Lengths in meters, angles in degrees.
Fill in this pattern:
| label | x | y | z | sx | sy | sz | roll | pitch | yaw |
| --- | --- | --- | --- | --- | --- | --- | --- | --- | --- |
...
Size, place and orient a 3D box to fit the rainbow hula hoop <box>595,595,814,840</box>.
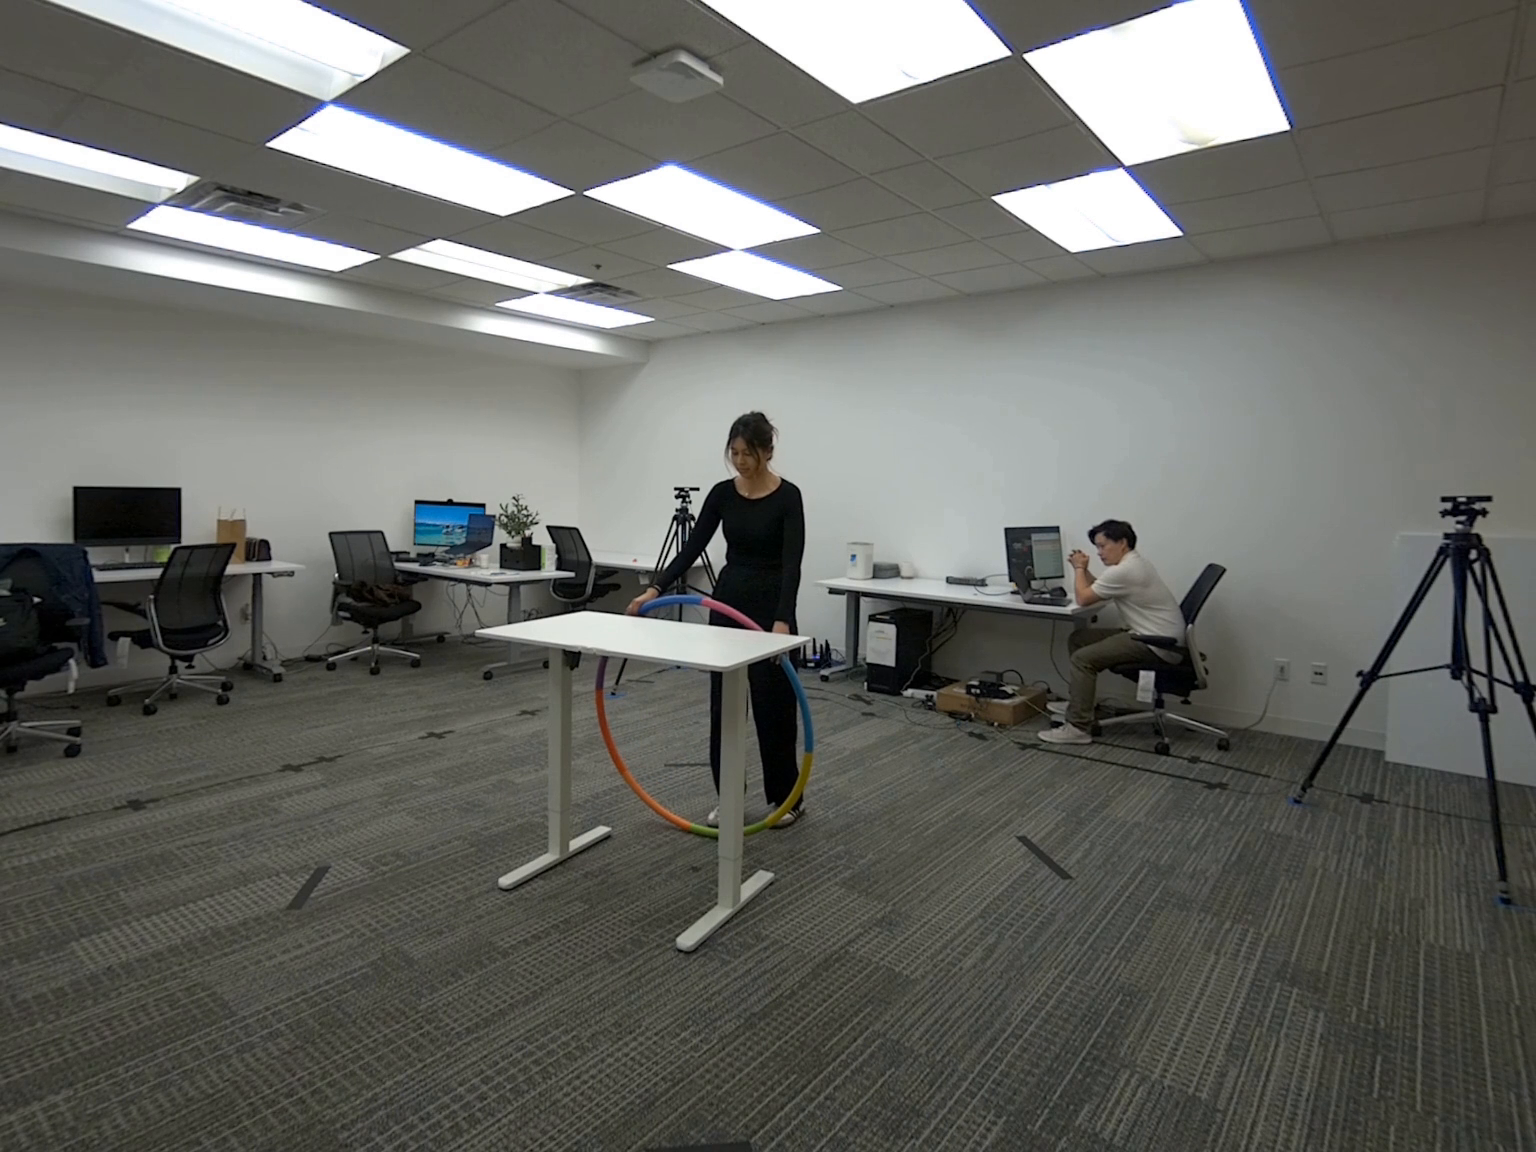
| label | x | y | z | sx | sy | sz | roll | pitch | yaw |
| --- | --- | --- | --- | --- | --- | --- | --- | --- | --- |
| rainbow hula hoop | -0.289 | 0.548 | 3.338 | 1.007 | 0.969 | 0.035 | 3 | 11 | 29 |
